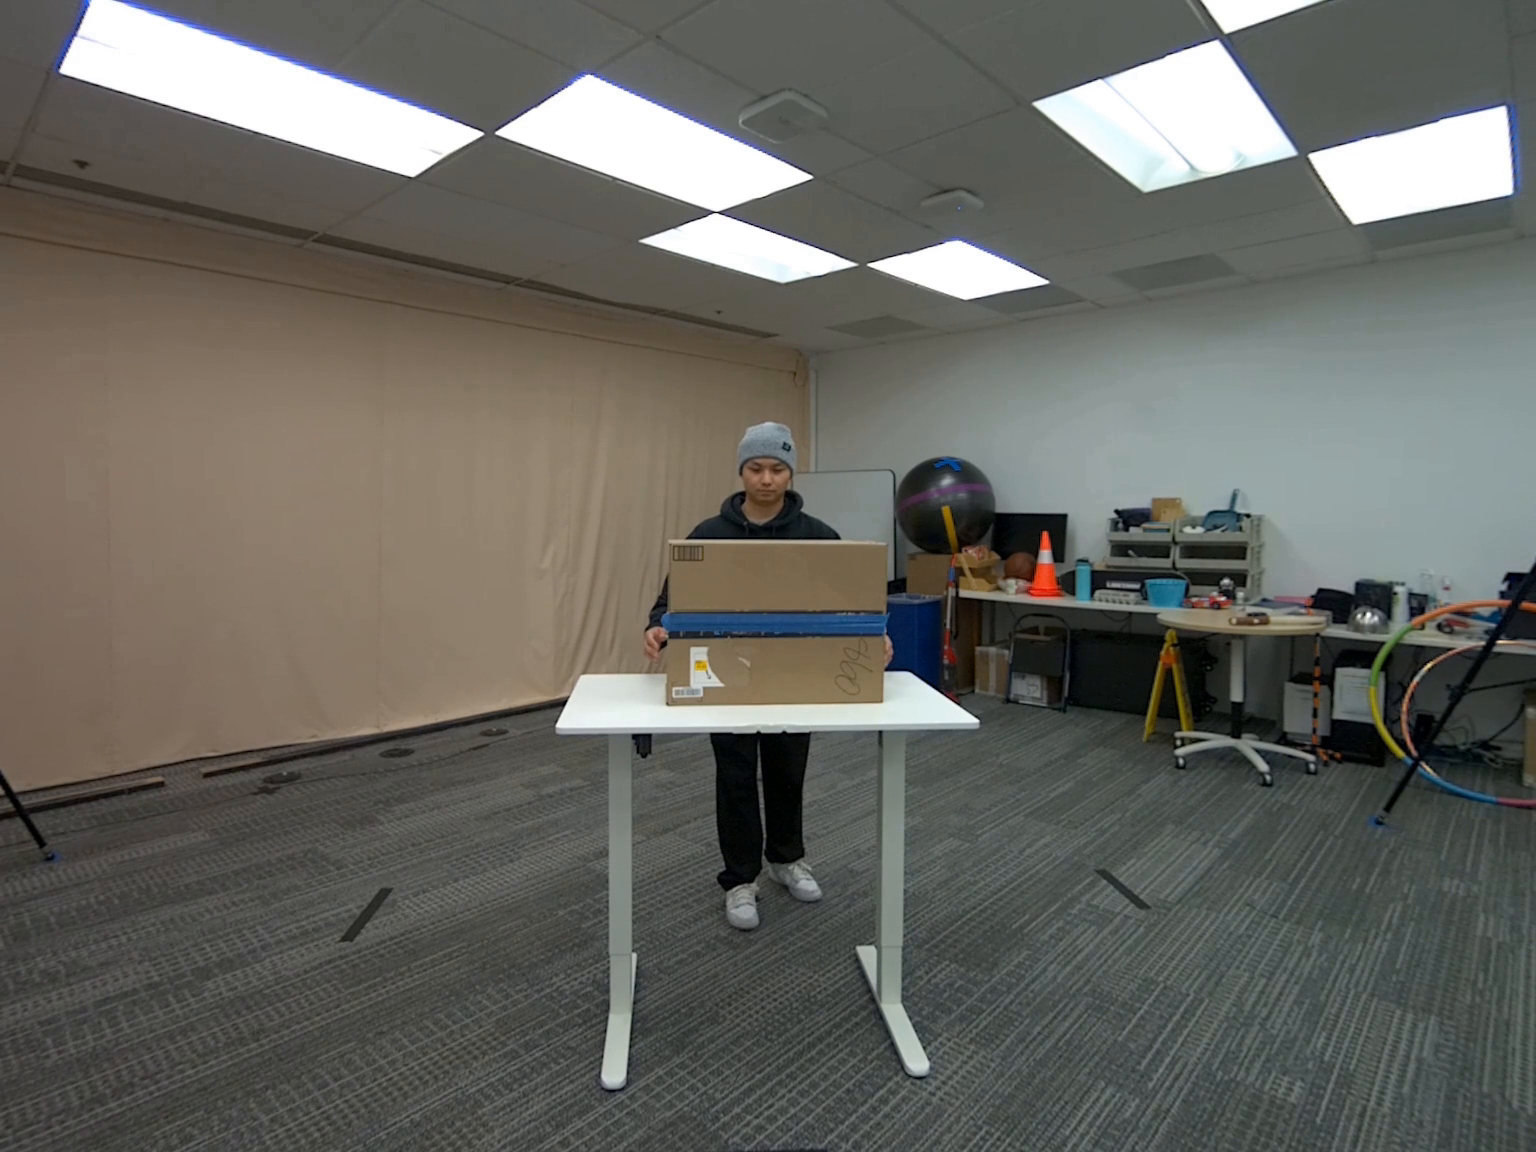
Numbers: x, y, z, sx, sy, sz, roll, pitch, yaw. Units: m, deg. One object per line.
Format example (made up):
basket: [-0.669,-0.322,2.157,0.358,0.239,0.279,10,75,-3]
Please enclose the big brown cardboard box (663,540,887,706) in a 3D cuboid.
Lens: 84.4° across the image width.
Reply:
big brown cardboard box: [0.009,0.114,2.264,0.586,0.416,0.235,0,4,-4]
